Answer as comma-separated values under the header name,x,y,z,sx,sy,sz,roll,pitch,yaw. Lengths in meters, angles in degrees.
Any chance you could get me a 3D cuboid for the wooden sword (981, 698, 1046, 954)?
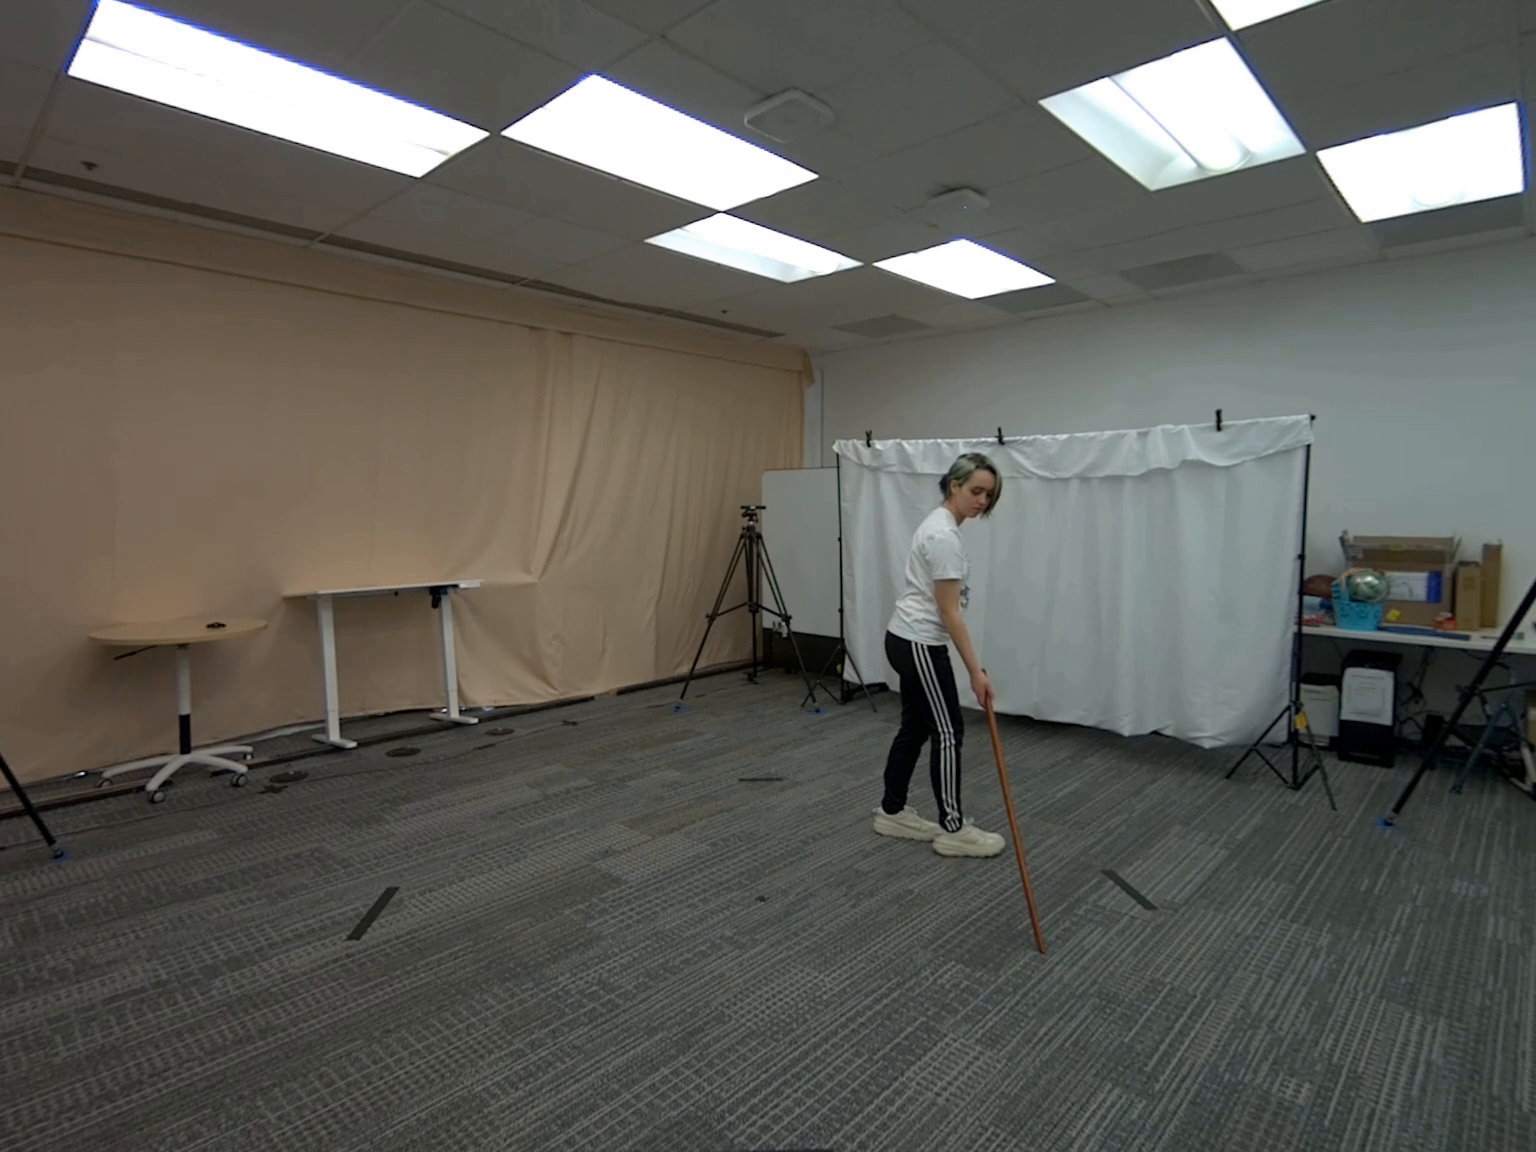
name,x,y,z,sx,sy,sz,roll,pitch,yaw
wooden sword,0.865,0.777,2.967,0.050,1.043,0.024,9,-42,-12
